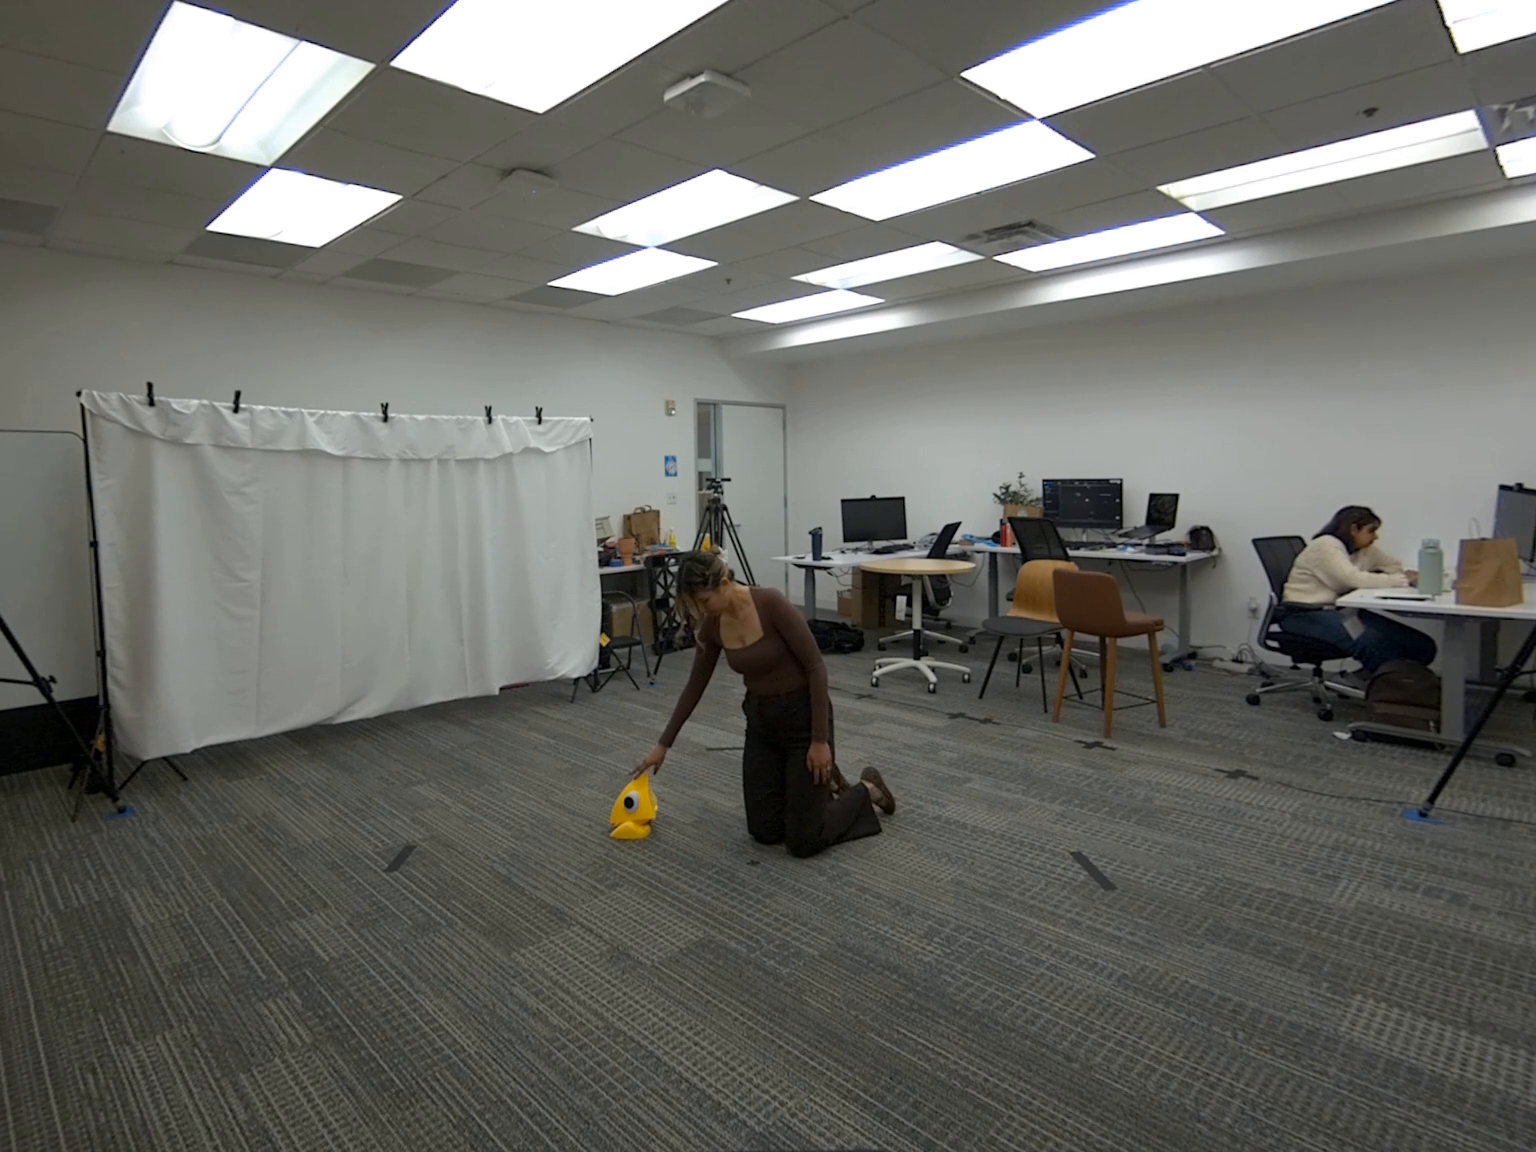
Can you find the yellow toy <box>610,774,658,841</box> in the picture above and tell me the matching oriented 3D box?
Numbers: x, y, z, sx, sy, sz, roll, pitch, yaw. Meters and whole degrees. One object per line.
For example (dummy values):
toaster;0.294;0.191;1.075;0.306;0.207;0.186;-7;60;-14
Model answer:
yellow toy;-0.536;0.900;3.426;0.192;0.230;0.206;-1;3;-4
